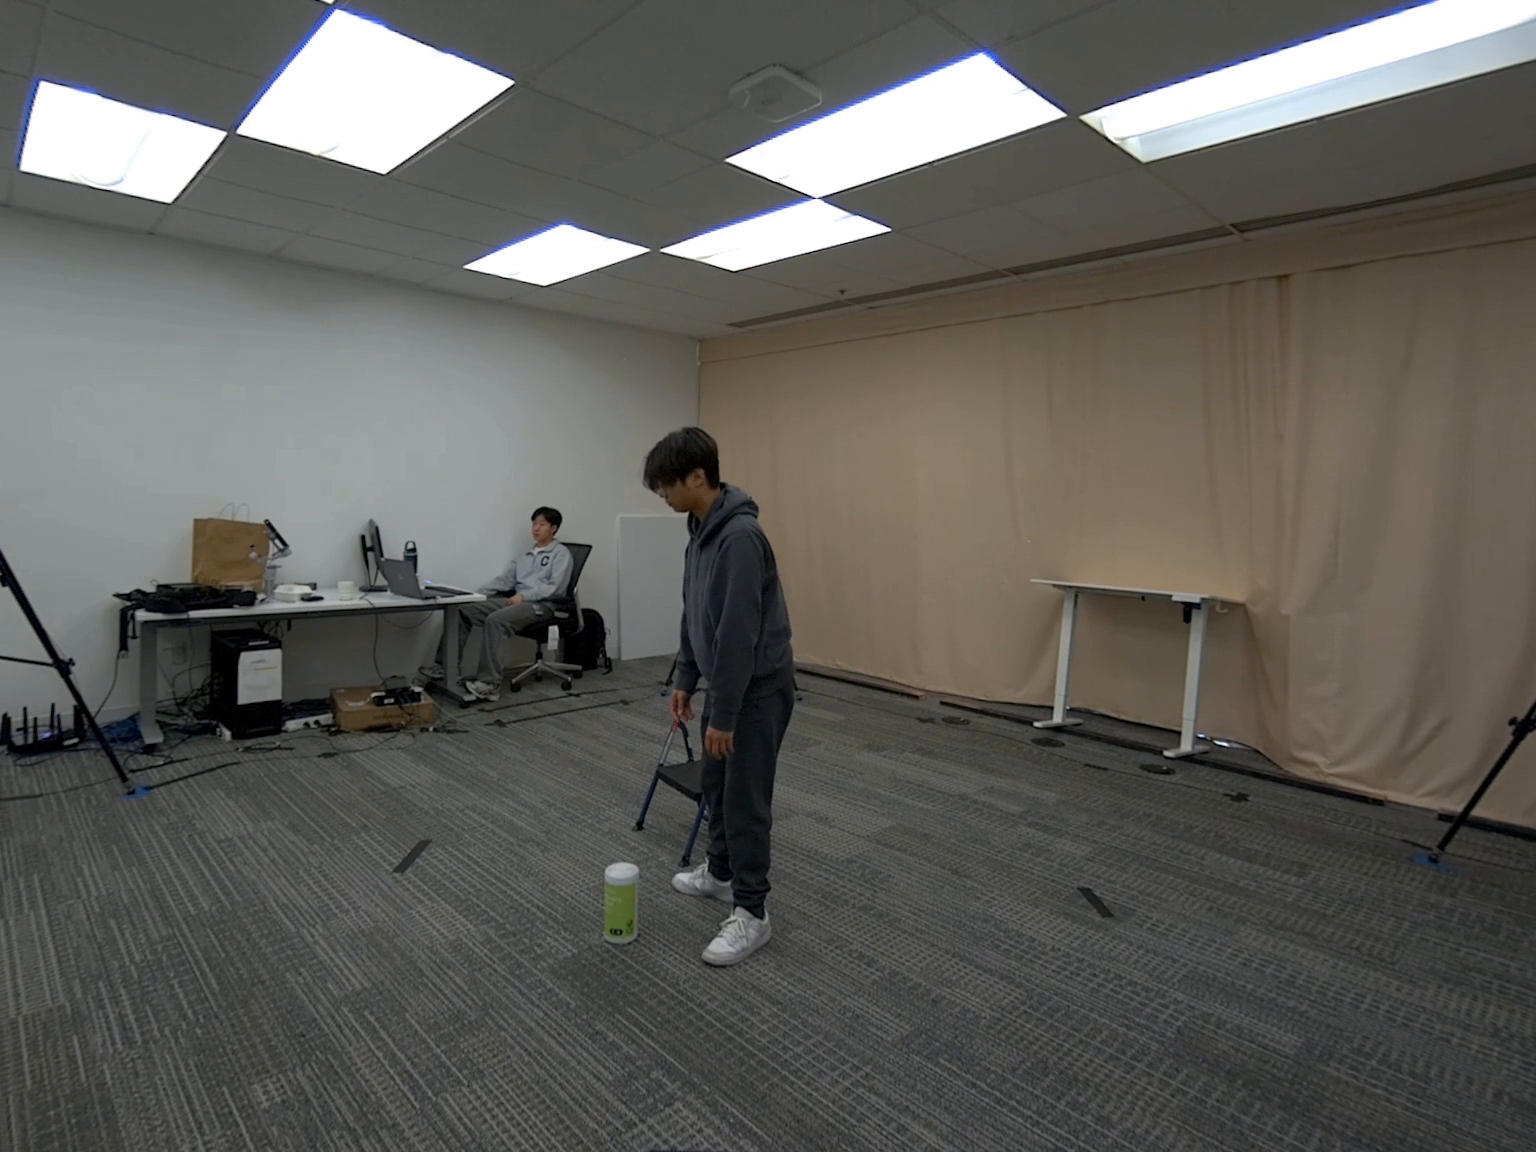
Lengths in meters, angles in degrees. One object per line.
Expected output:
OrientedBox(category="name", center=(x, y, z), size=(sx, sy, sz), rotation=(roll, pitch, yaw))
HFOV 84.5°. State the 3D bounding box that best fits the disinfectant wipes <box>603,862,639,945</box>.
OrientedBox(category="disinfectant wipes", center=(-0.466, 1.029, 2.658), size=(0.118, 0.217, 0.118), rotation=(0, 5, -1))
